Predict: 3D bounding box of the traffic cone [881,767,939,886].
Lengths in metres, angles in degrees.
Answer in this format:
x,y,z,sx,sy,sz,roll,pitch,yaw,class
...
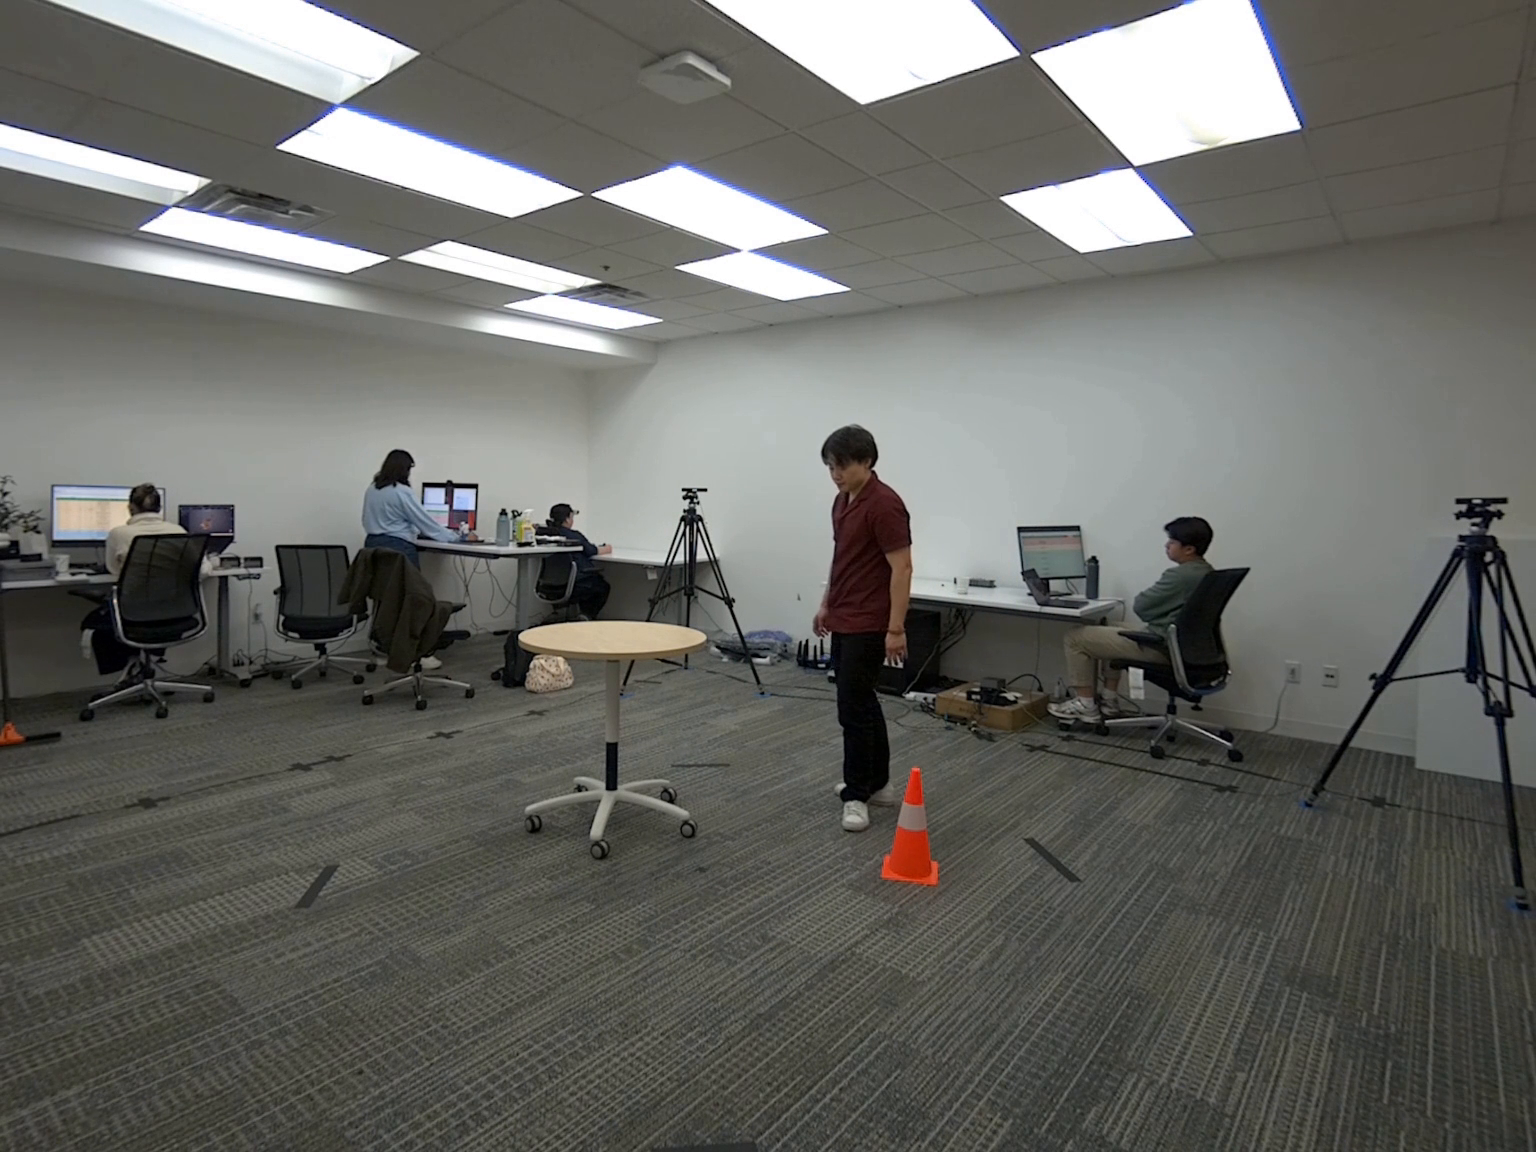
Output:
x,y,z,sx,sy,sz,roll,pitch,yaw,class
0.529,0.896,3.140,0.207,0.382,0.202,4,4,14,traffic cone
